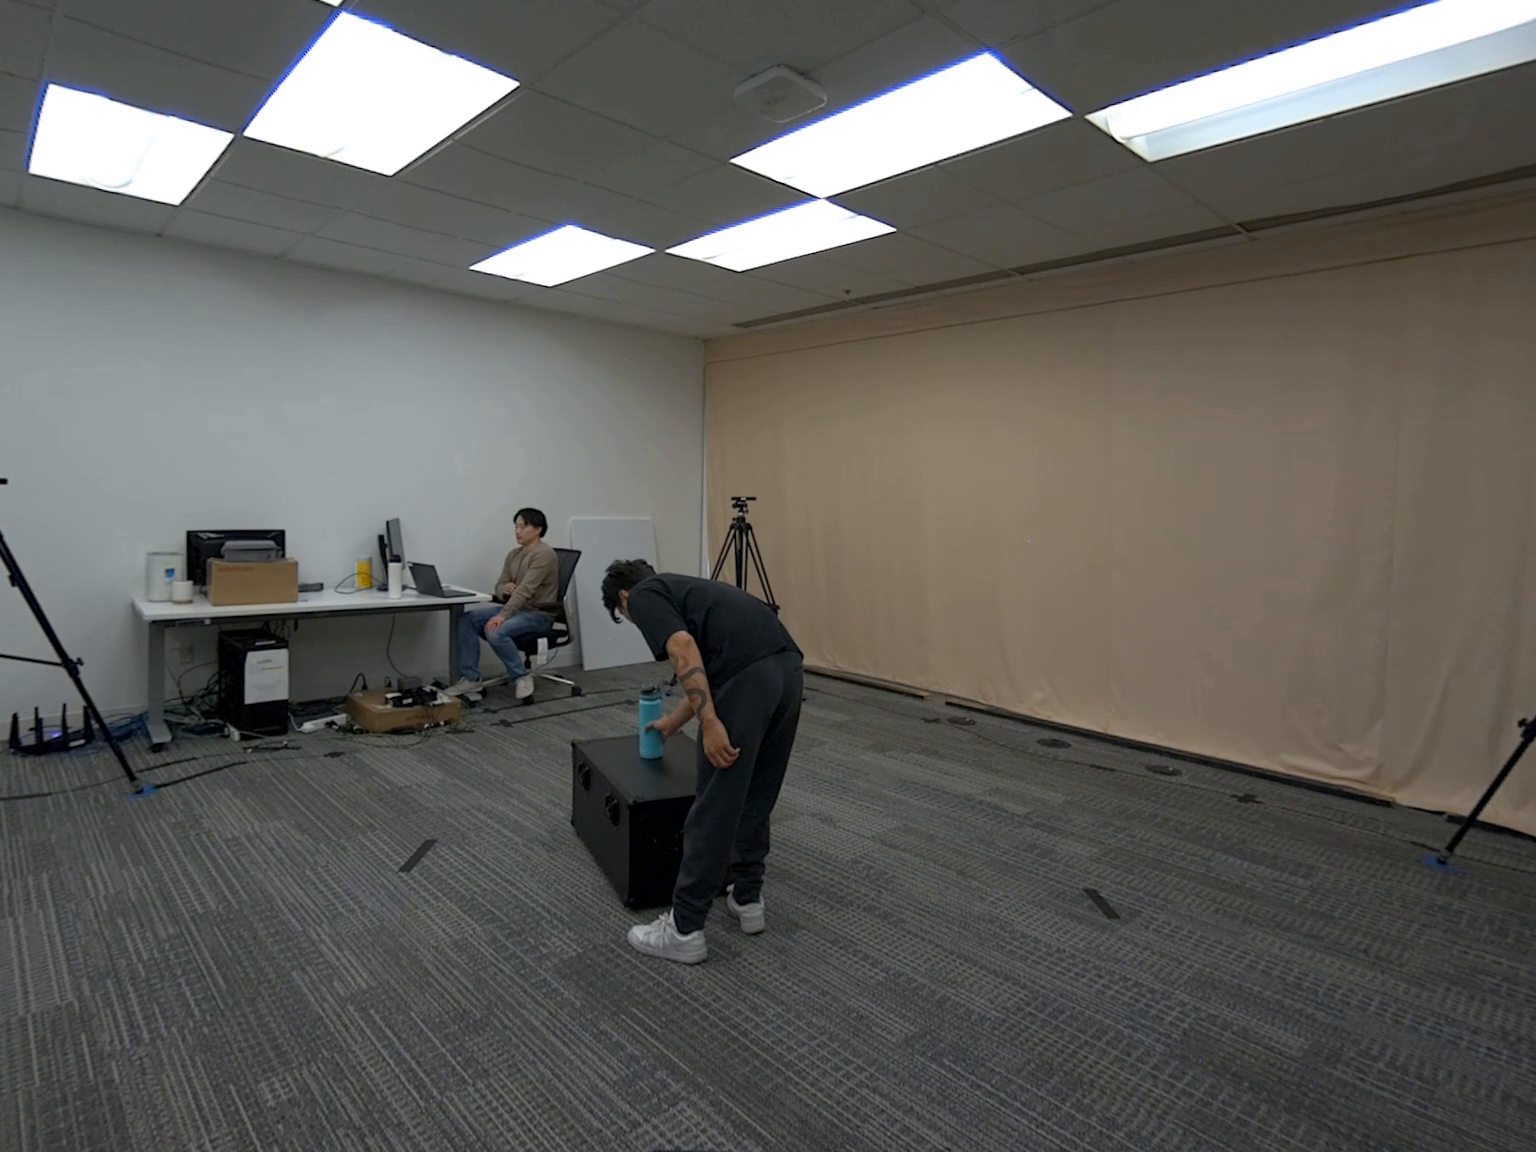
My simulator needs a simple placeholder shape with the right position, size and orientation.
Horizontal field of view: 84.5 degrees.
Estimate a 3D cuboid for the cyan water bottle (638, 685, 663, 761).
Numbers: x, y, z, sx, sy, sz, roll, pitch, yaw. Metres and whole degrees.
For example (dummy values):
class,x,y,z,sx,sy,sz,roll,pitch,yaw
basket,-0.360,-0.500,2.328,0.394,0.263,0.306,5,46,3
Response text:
class,x,y,z,sx,sy,sz,roll,pitch,yaw
cyan water bottle,-0.466,0.563,3.306,0.092,0.283,0.092,0,1,-1
